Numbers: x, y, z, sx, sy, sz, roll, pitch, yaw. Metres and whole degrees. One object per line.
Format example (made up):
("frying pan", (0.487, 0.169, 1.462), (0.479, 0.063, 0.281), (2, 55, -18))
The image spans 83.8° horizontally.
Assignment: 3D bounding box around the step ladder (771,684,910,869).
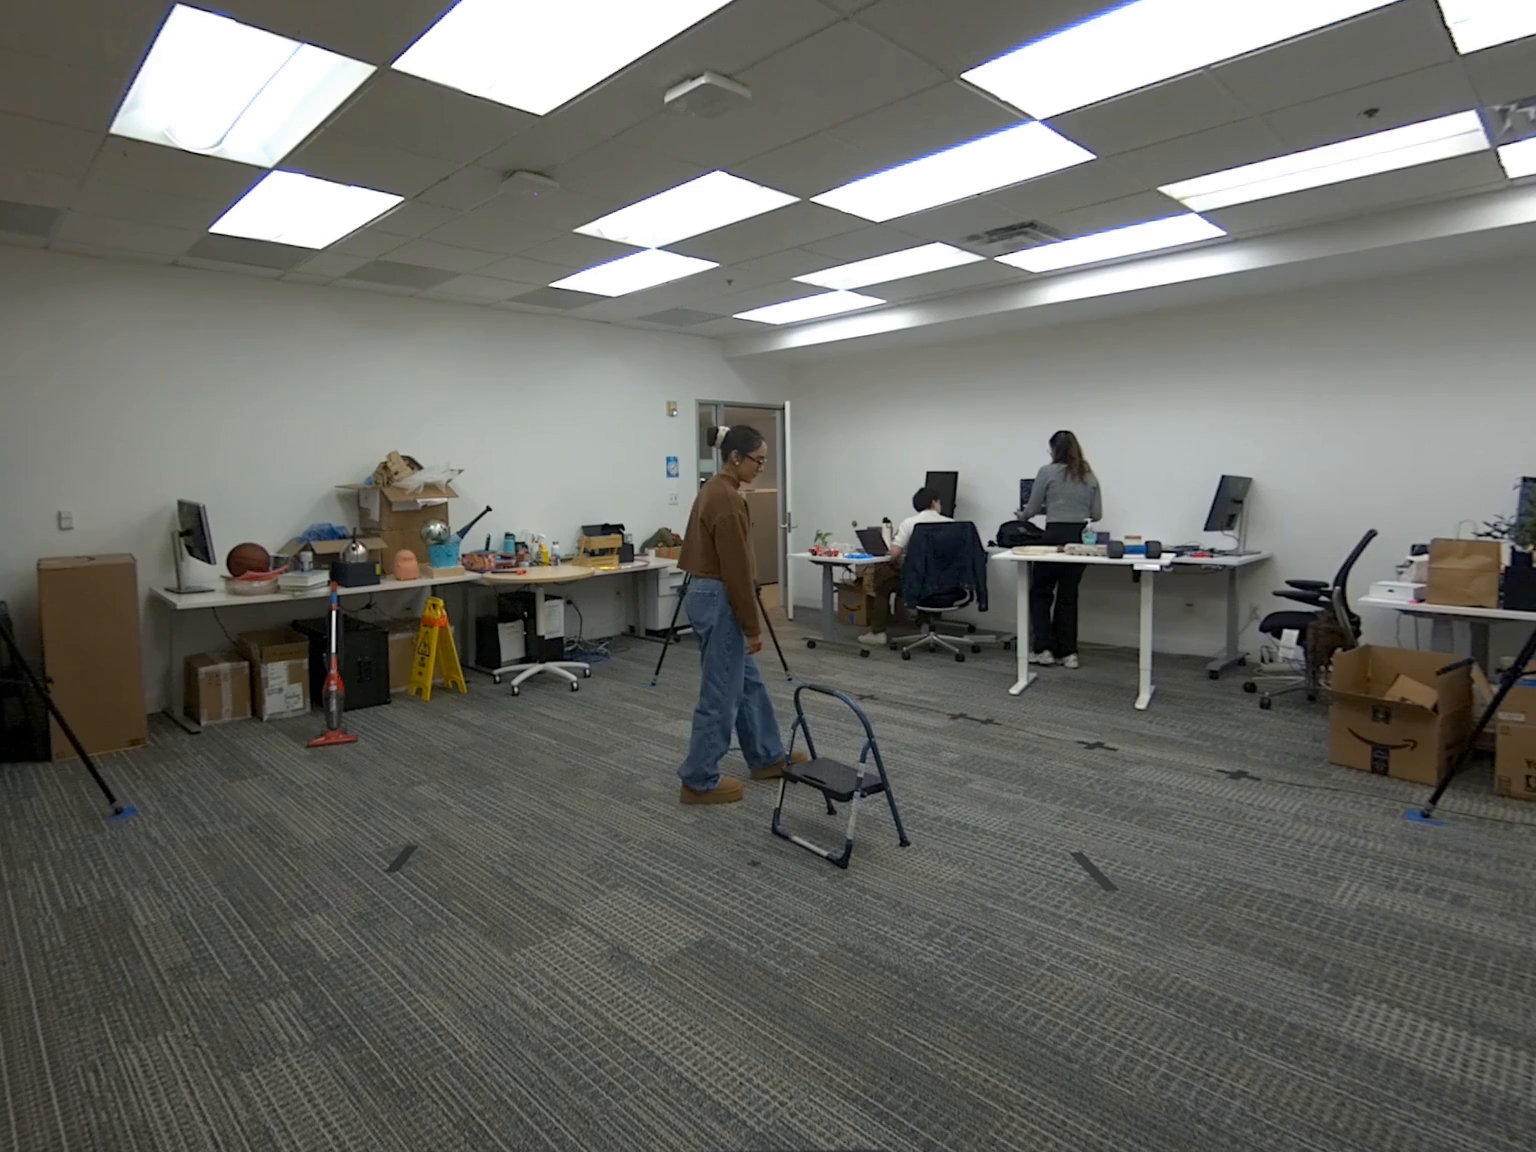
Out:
("step ladder", (0.268, 0.713, 3.290), (0.340, 0.604, 0.444), (-5, 6, -38))
